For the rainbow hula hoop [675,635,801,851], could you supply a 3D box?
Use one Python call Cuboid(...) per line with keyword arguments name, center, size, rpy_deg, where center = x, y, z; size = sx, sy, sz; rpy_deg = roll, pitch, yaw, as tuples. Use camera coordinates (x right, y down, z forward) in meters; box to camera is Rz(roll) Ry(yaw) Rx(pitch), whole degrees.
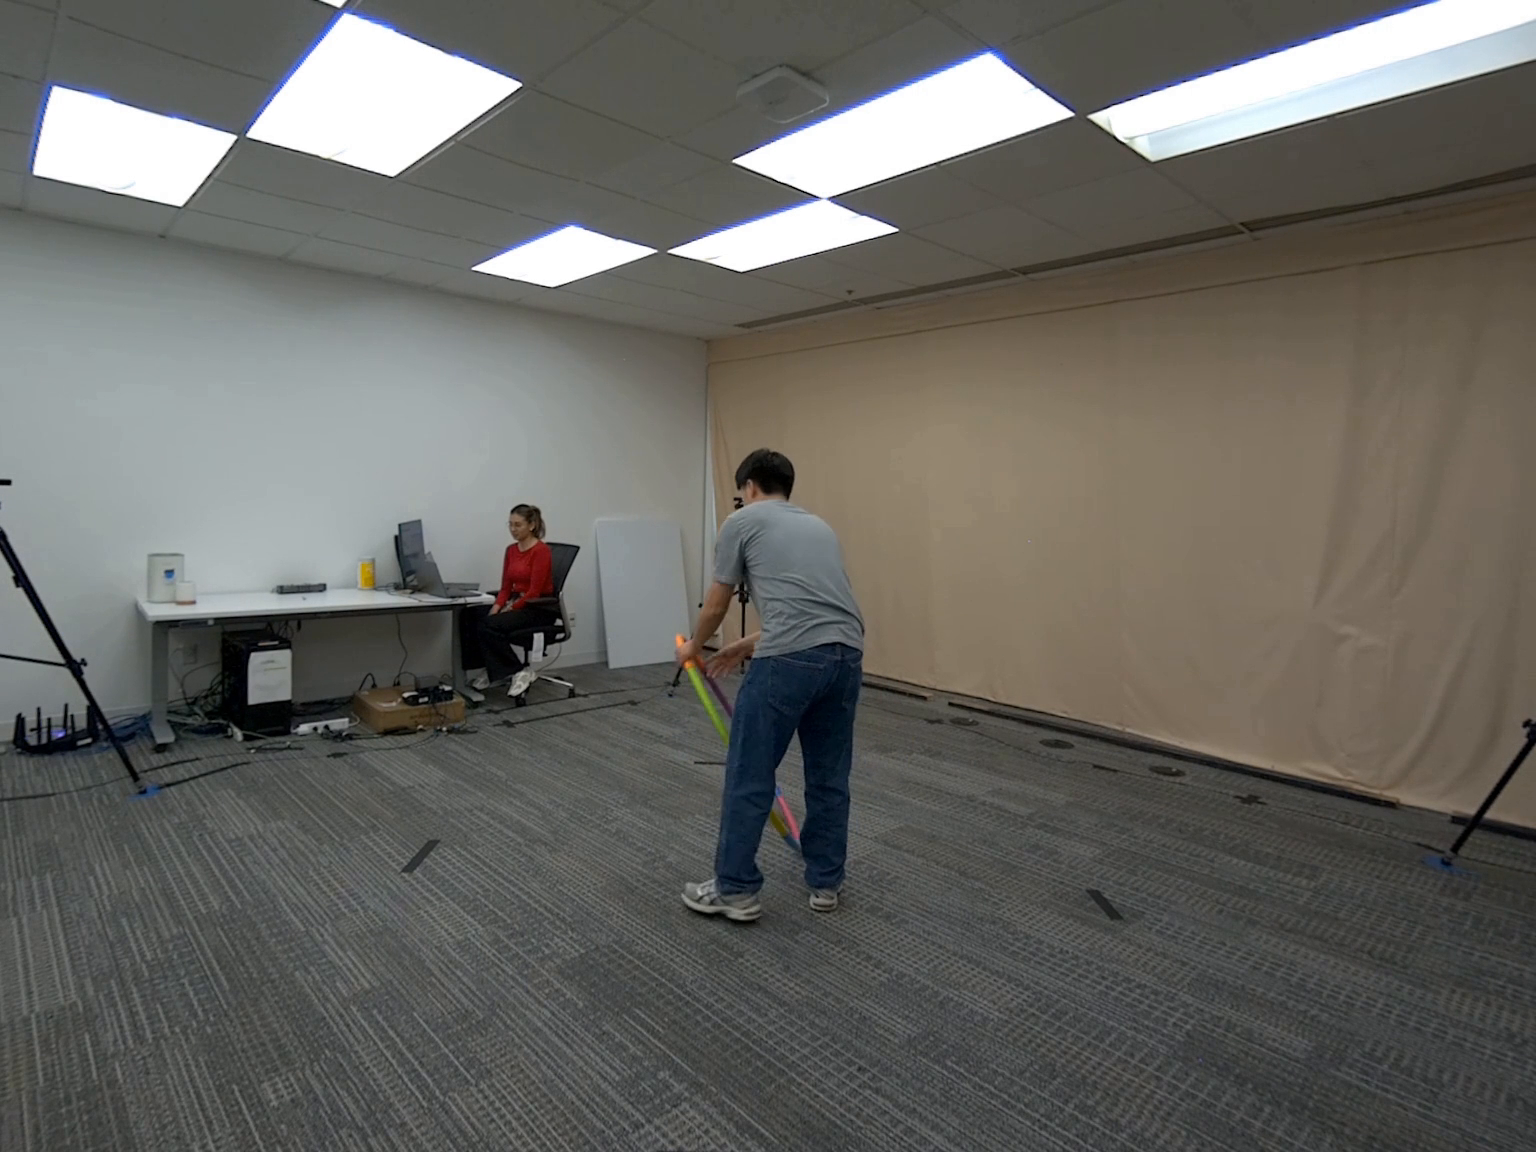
Cuboid(name="rainbow hula hoop", center=(-0.137, 0.668, 3.435), size=(0.035, 0.972, 0.986), rpy_deg=(-32, 7, -3))
